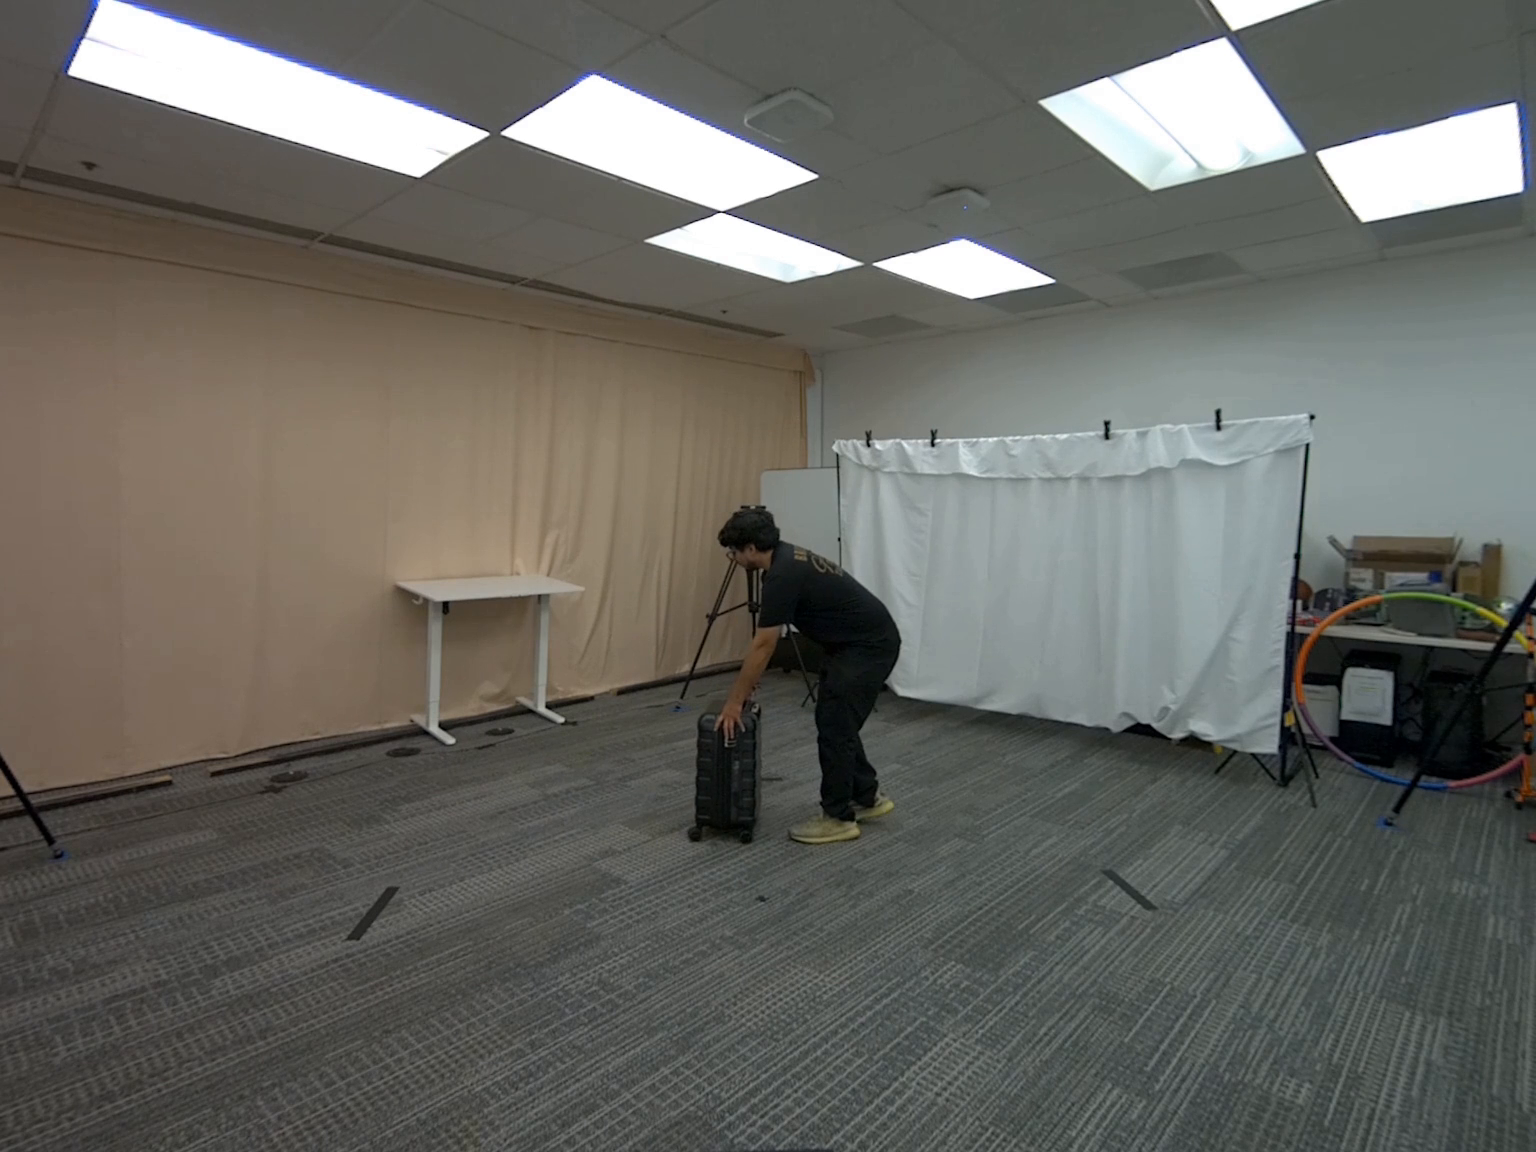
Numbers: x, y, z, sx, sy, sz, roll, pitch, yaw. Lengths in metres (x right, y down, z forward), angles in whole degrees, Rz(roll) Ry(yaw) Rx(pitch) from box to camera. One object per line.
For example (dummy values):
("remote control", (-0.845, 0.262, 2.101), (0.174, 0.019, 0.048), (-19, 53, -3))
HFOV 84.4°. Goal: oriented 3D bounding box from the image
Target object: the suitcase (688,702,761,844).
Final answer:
("suitcase", (-0.162, 0.820, 3.640), (0.250, 0.548, 0.373), (1, 3, 6))
